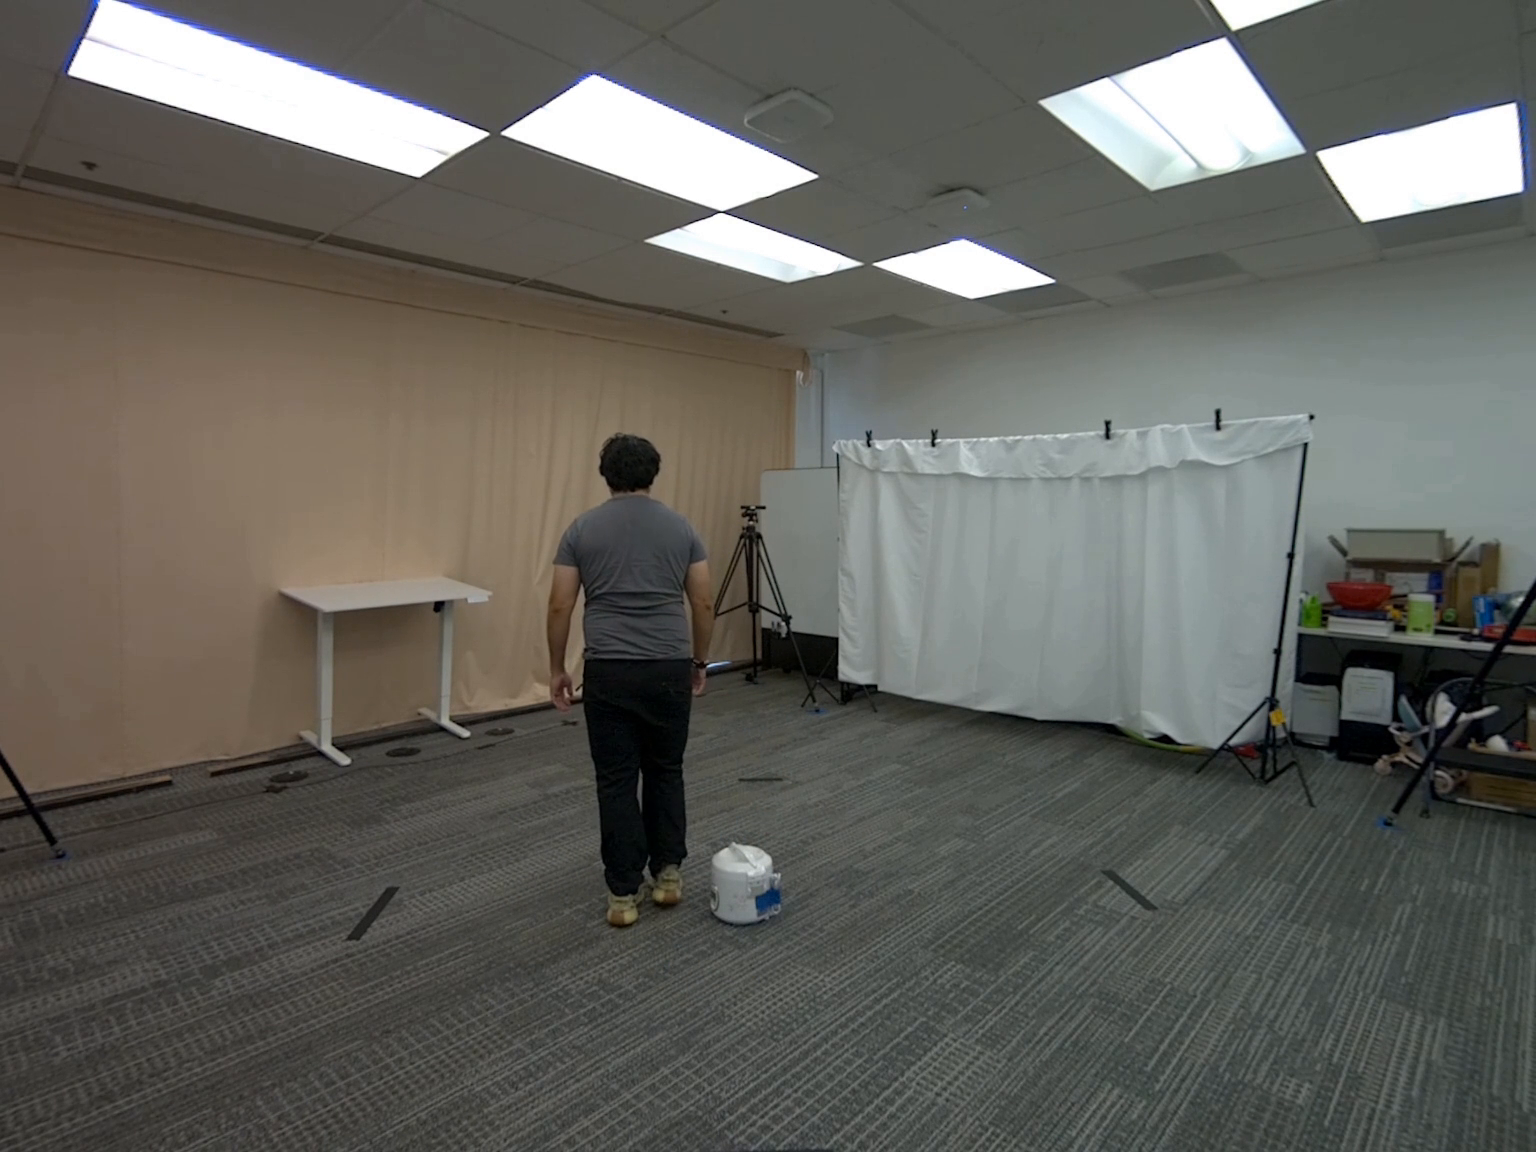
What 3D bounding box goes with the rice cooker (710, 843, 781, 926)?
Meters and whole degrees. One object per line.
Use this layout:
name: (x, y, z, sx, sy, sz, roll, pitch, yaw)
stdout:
rice cooker: (-0.082, 1.041, 2.860, 0.212, 0.232, 0.227, -1, 3, -28)
